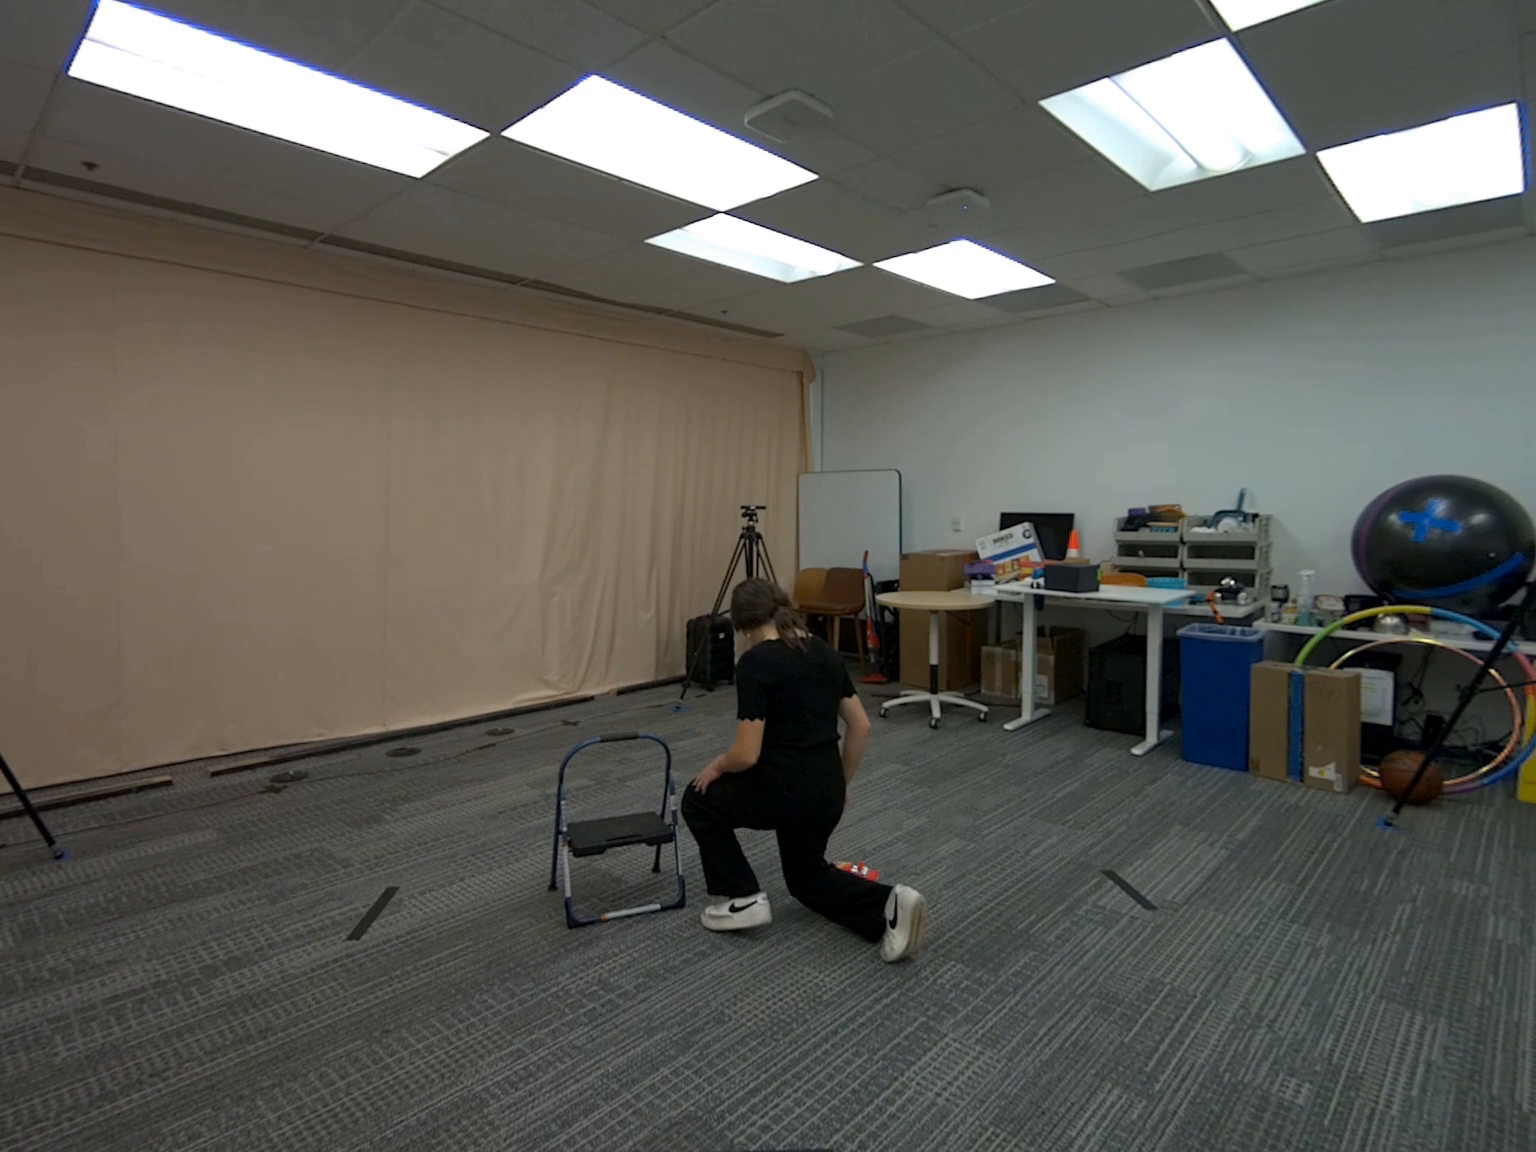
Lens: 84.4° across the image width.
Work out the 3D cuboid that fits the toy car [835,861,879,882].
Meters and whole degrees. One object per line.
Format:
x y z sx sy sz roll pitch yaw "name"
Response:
0.285 1.101 3.083 0.259 0.083 0.128 -9 -2 17 "toy car"
